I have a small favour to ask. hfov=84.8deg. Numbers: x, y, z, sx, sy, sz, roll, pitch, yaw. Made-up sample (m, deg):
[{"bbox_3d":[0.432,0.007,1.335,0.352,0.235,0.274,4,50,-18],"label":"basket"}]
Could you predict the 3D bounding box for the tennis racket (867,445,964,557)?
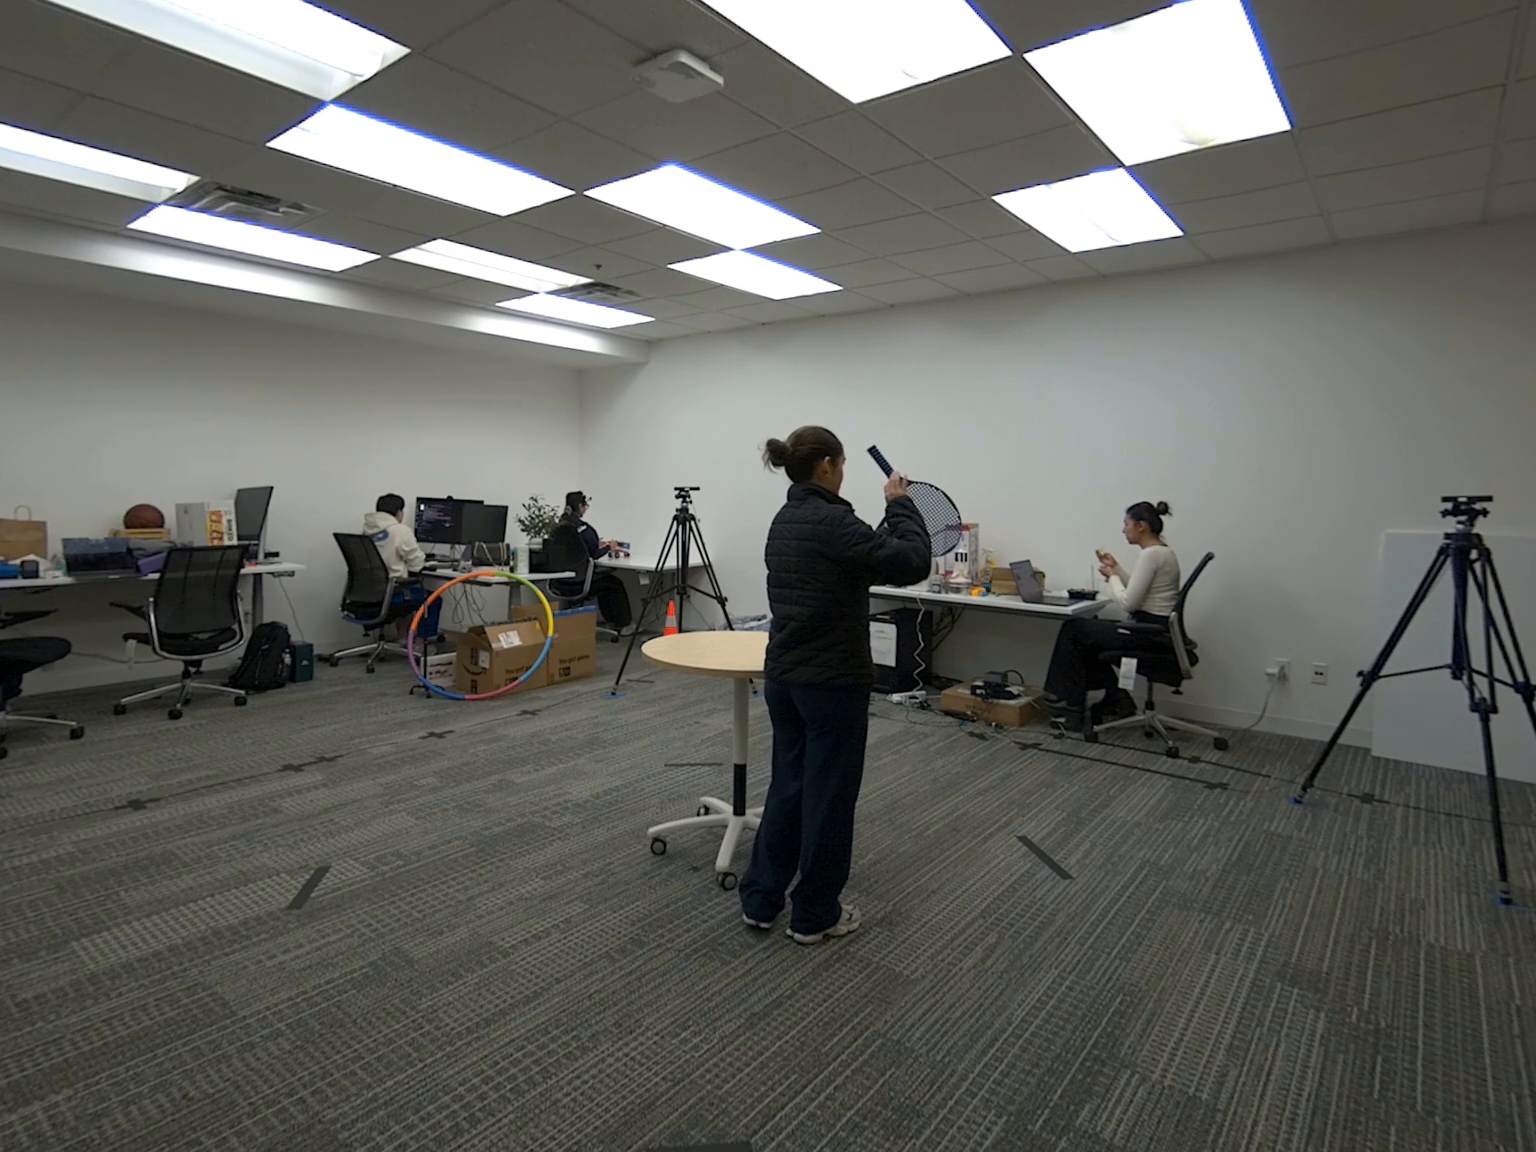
[{"bbox_3d":[0.481,-0.258,2.814,0.214,0.438,0.031,-32,-9,1],"label":"tennis racket"}]
